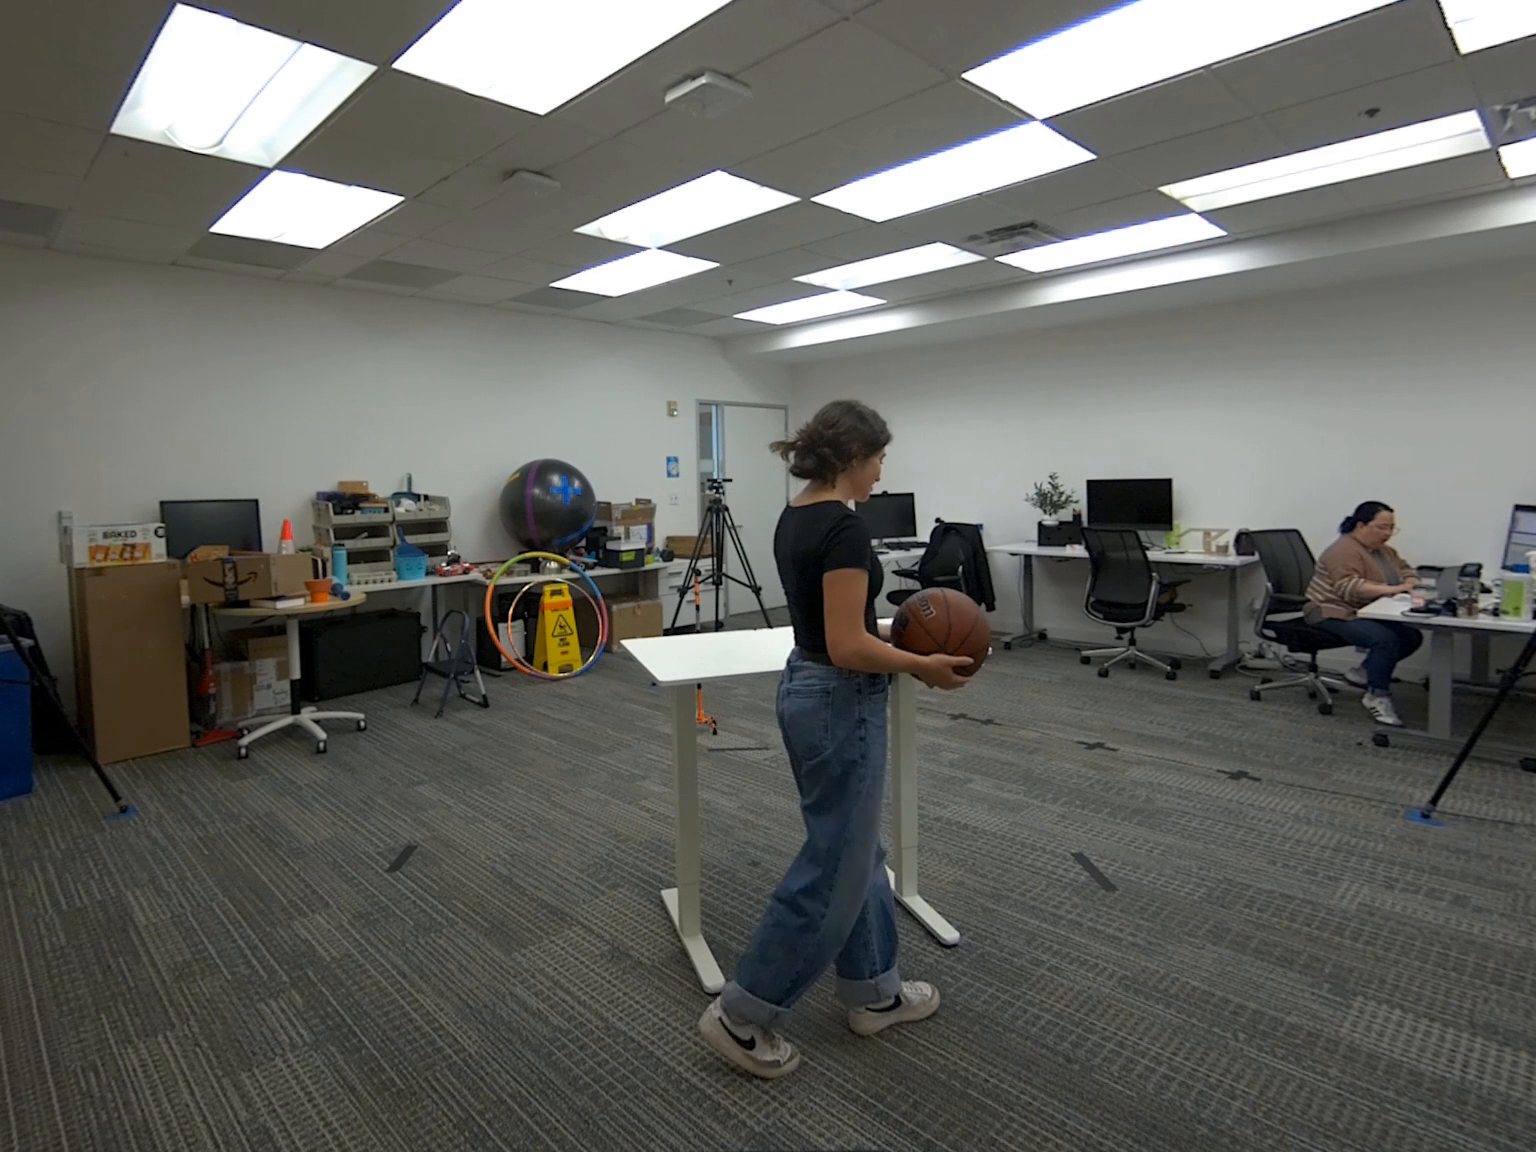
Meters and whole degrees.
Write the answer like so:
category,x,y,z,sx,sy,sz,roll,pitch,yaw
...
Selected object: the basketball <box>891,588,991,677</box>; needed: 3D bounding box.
category,x,y,z,sx,sy,sz,roll,pitch,yaw
basketball,0.421,0.148,2.097,0.236,0.235,0.237,-1,5,-2
